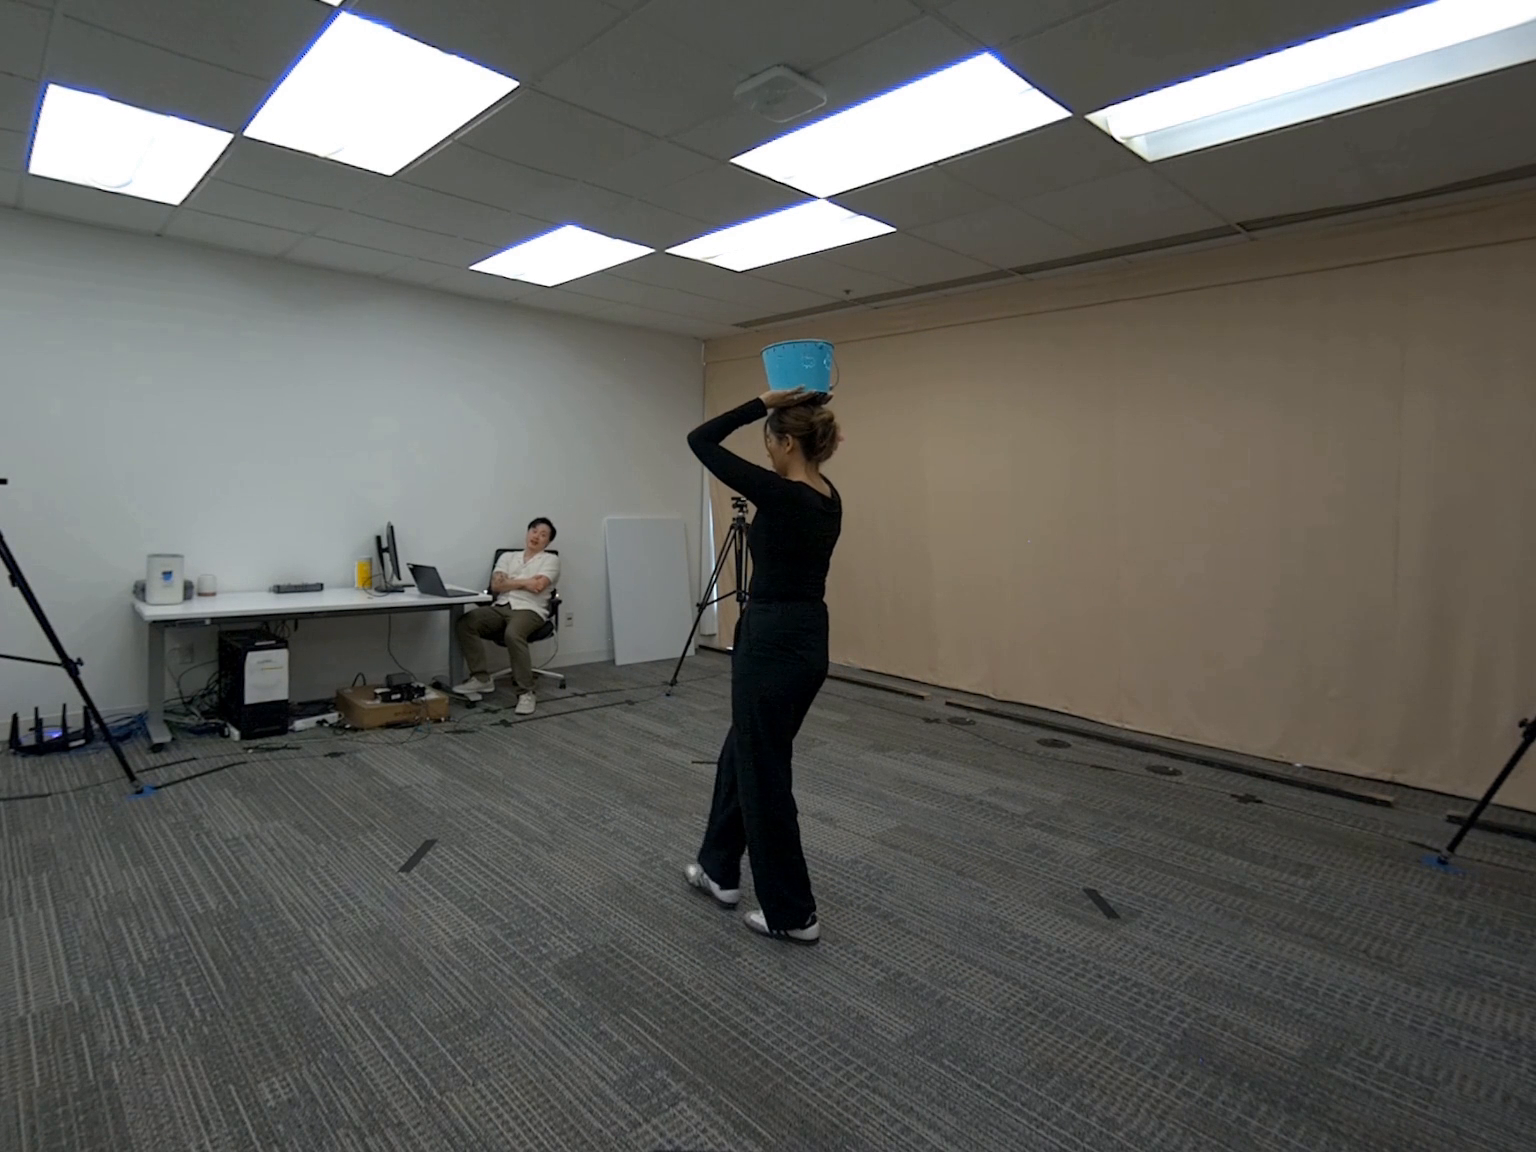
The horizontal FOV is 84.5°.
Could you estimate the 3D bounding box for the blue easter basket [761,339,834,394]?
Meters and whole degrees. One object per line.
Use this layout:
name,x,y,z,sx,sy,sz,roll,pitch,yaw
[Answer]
blue easter basket,0.108,-0.636,2.640,0.243,0.156,0.244,-3,2,-1
